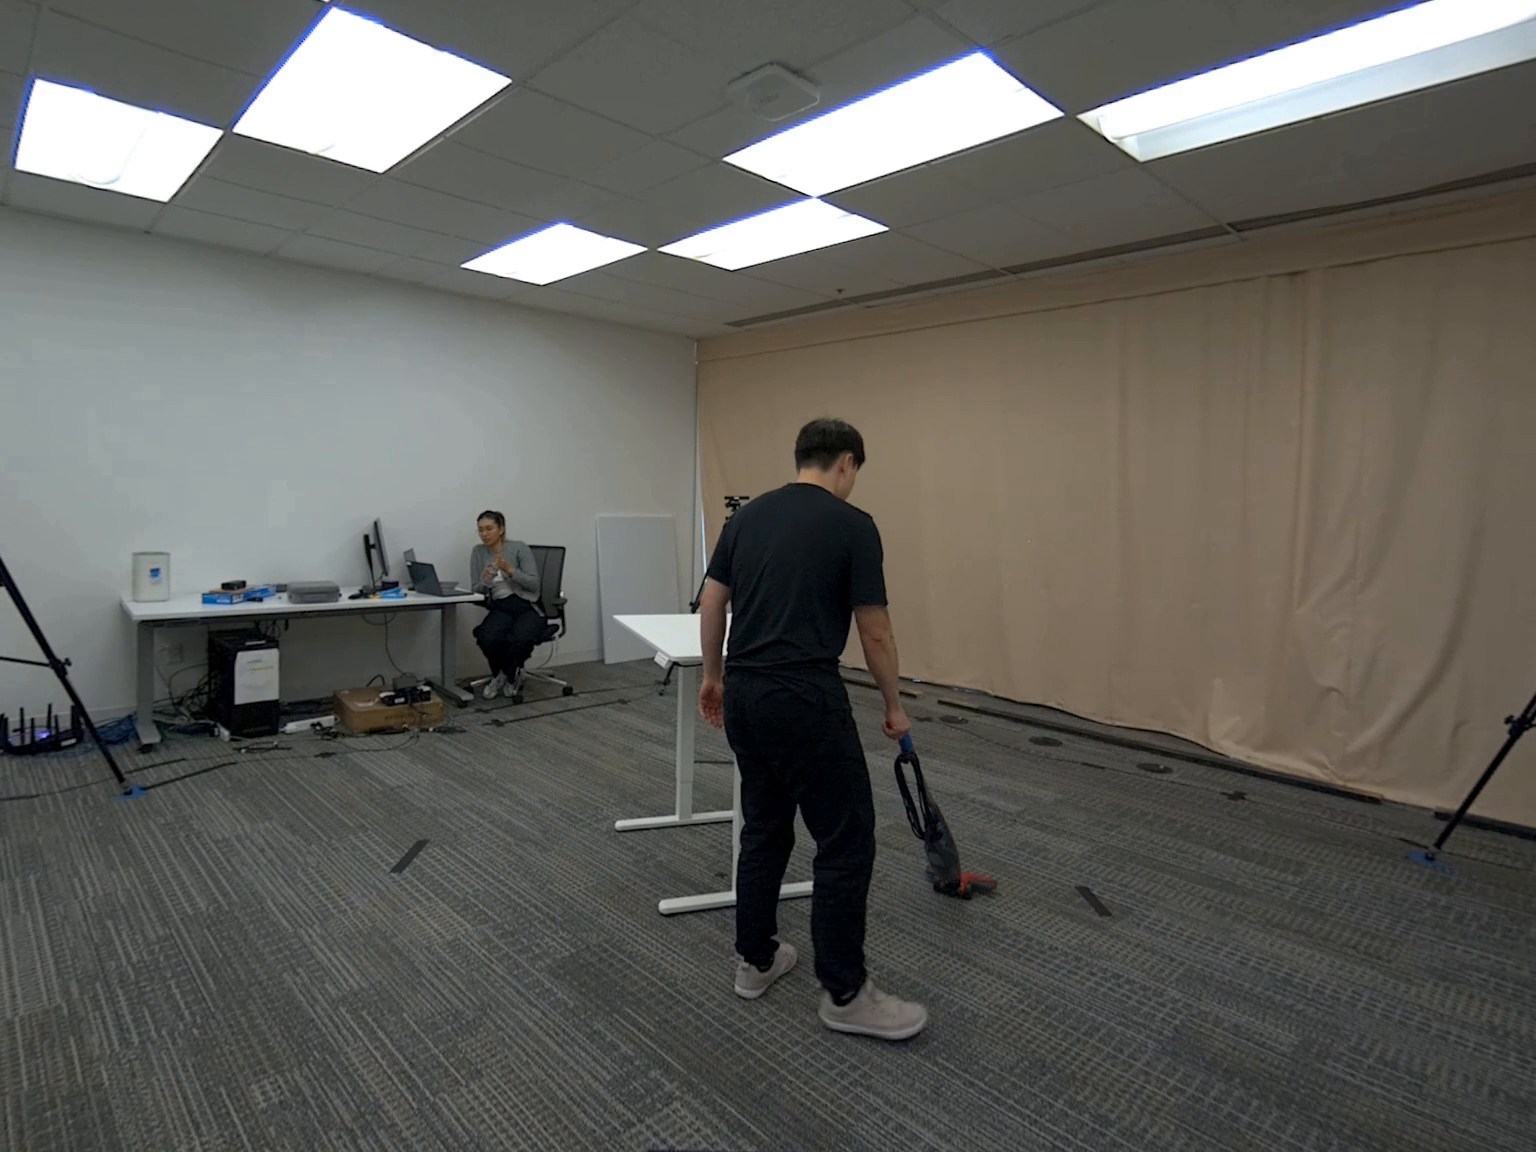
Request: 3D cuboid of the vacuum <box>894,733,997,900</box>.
[{"bbox_3d":[0.505,0.770,2.704,0.258,0.145,1.018,3,-41,29],"label":"vacuum"}]
